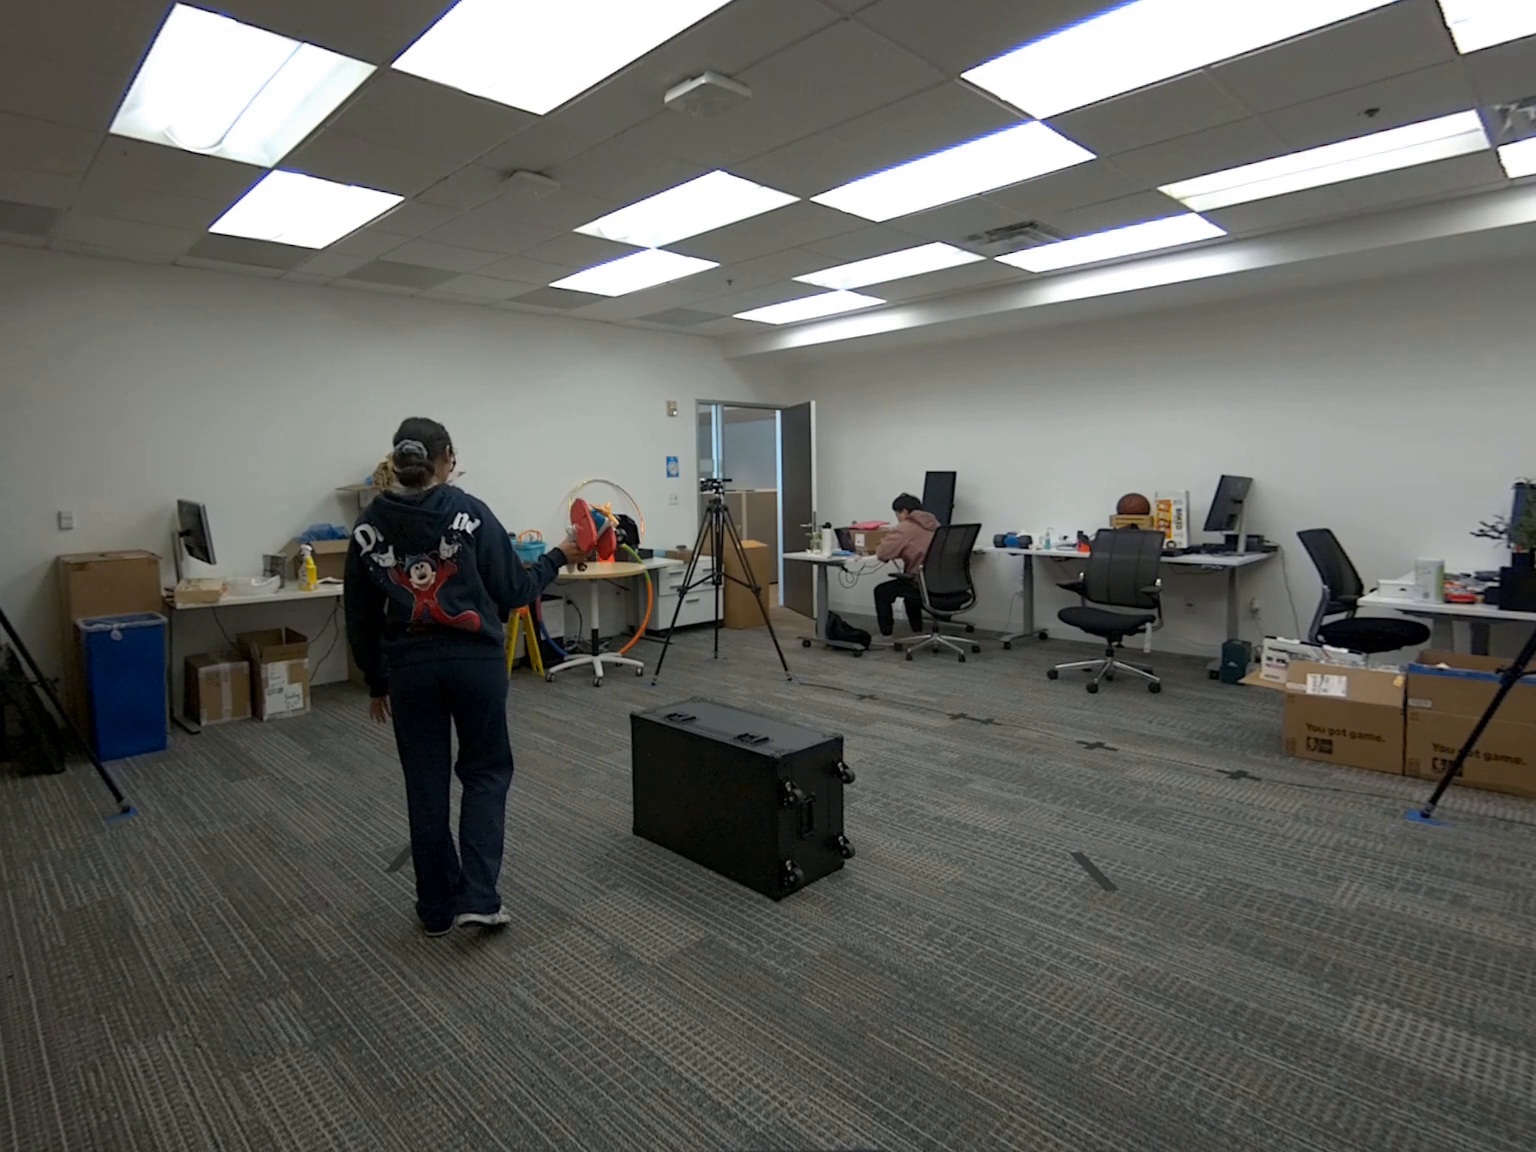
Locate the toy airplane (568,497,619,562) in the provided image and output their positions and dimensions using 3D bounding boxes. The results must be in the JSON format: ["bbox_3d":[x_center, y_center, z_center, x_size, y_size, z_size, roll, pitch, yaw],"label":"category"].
[{"bbox_3d":[-0.604,-0.112,2.894,0.260,0.260,0.150,19,-16,45],"label":"toy airplane"}]
